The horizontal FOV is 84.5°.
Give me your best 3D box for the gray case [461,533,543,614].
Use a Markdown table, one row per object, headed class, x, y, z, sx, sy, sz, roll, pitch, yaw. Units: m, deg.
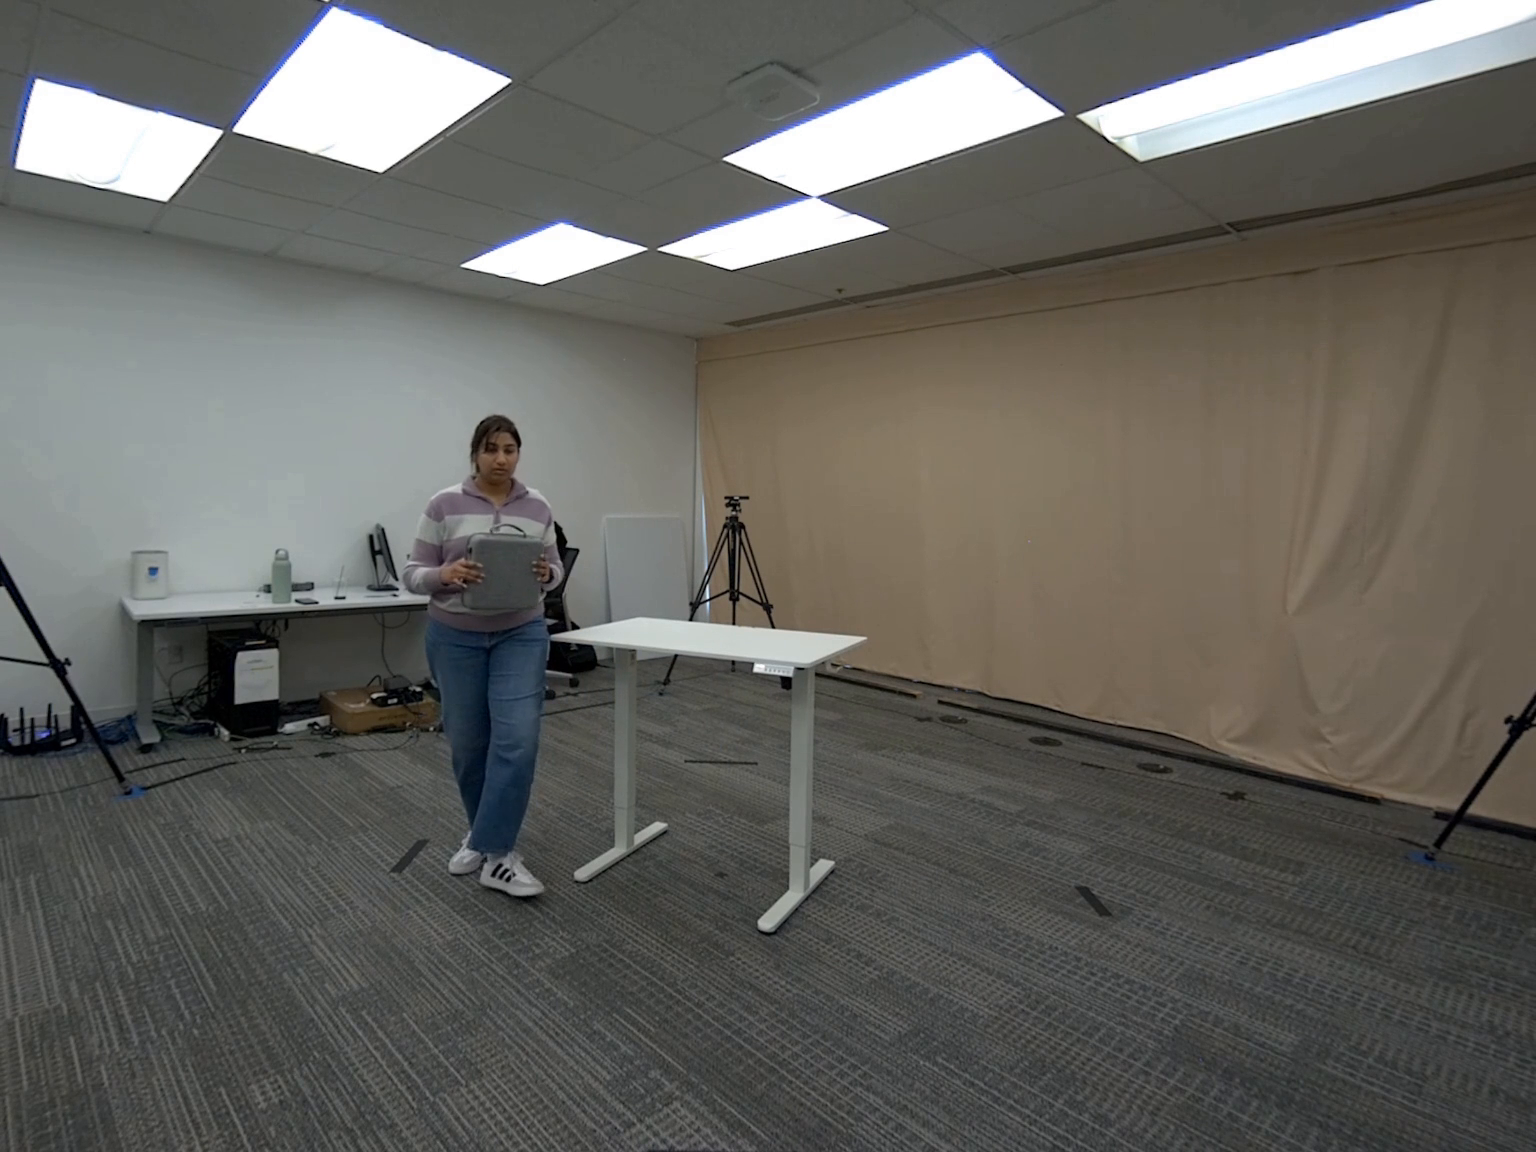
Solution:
| class | x | y | z | sx | sy | sz | roll | pitch | yaw |
| --- | --- | --- | --- | --- | --- | --- | --- | --- | --- |
| gray case | -0.914 | -0.017 | 2.850 | 0.251 | 0.259 | 0.107 | 1 | 11 | -38 |
